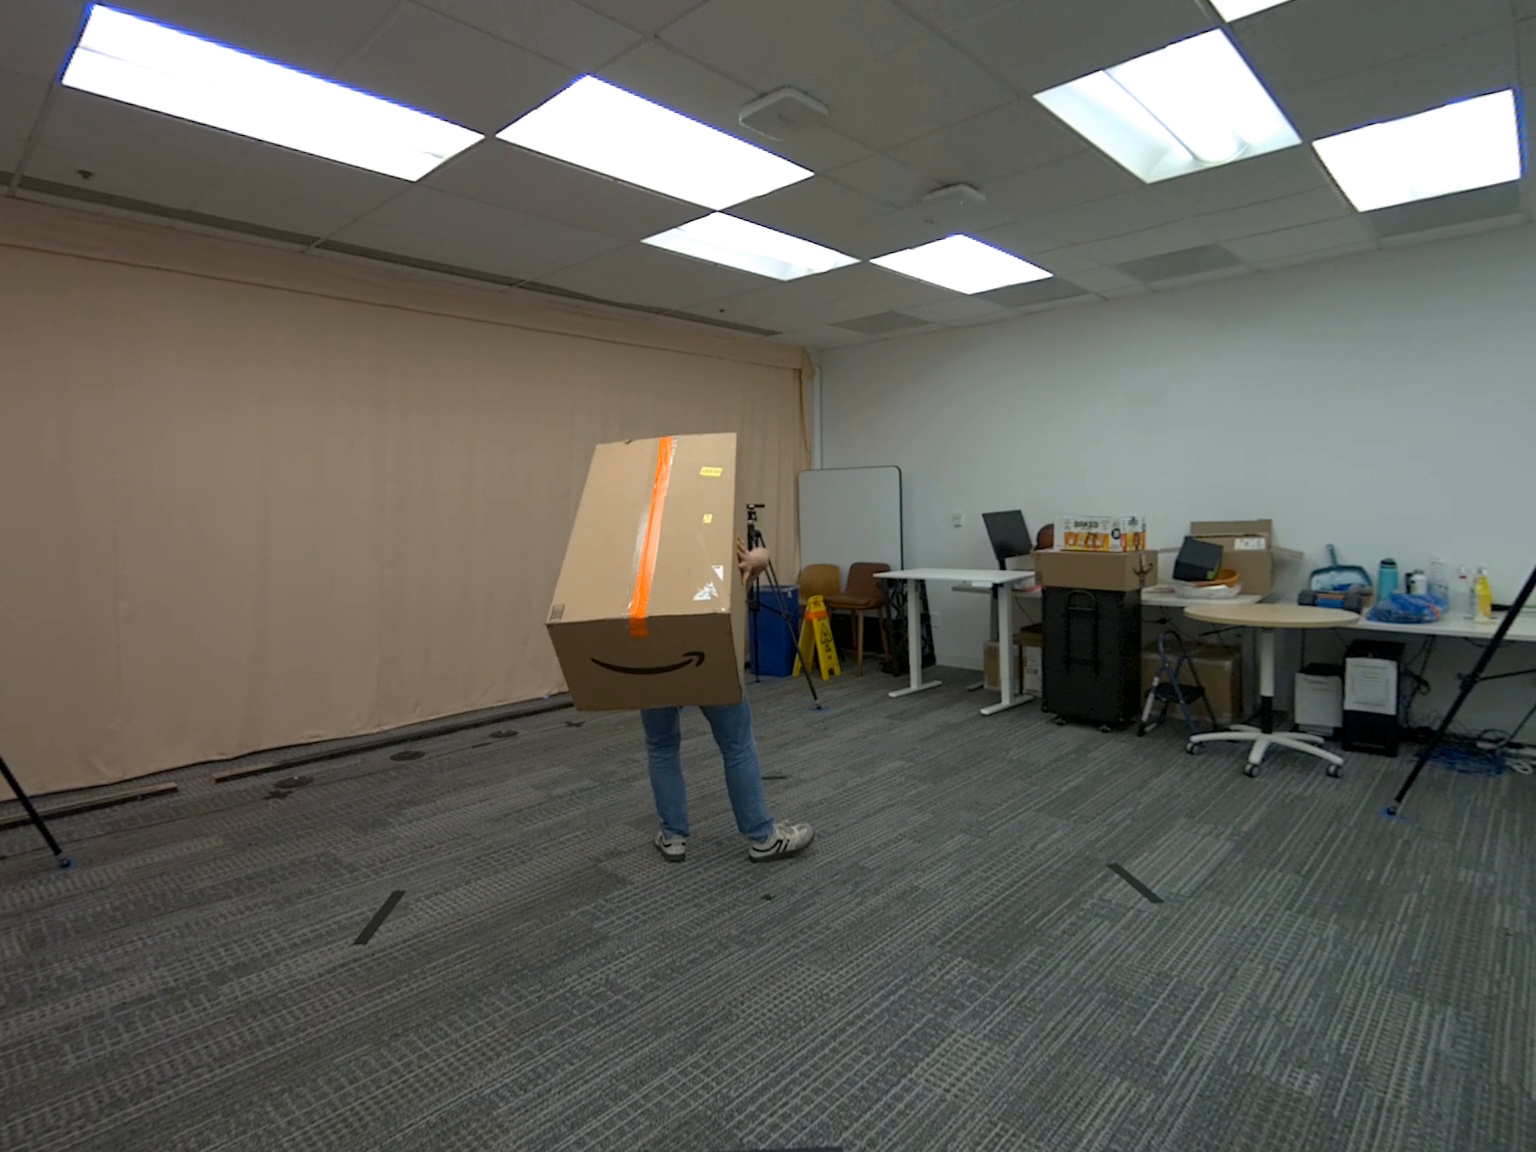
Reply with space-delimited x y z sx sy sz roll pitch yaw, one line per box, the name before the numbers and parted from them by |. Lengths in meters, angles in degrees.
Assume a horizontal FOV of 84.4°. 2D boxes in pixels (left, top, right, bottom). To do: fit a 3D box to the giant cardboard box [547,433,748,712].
giant cardboard box | -0.376 -0.060 3.085 0.581 0.416 1.044 -5 41 4
